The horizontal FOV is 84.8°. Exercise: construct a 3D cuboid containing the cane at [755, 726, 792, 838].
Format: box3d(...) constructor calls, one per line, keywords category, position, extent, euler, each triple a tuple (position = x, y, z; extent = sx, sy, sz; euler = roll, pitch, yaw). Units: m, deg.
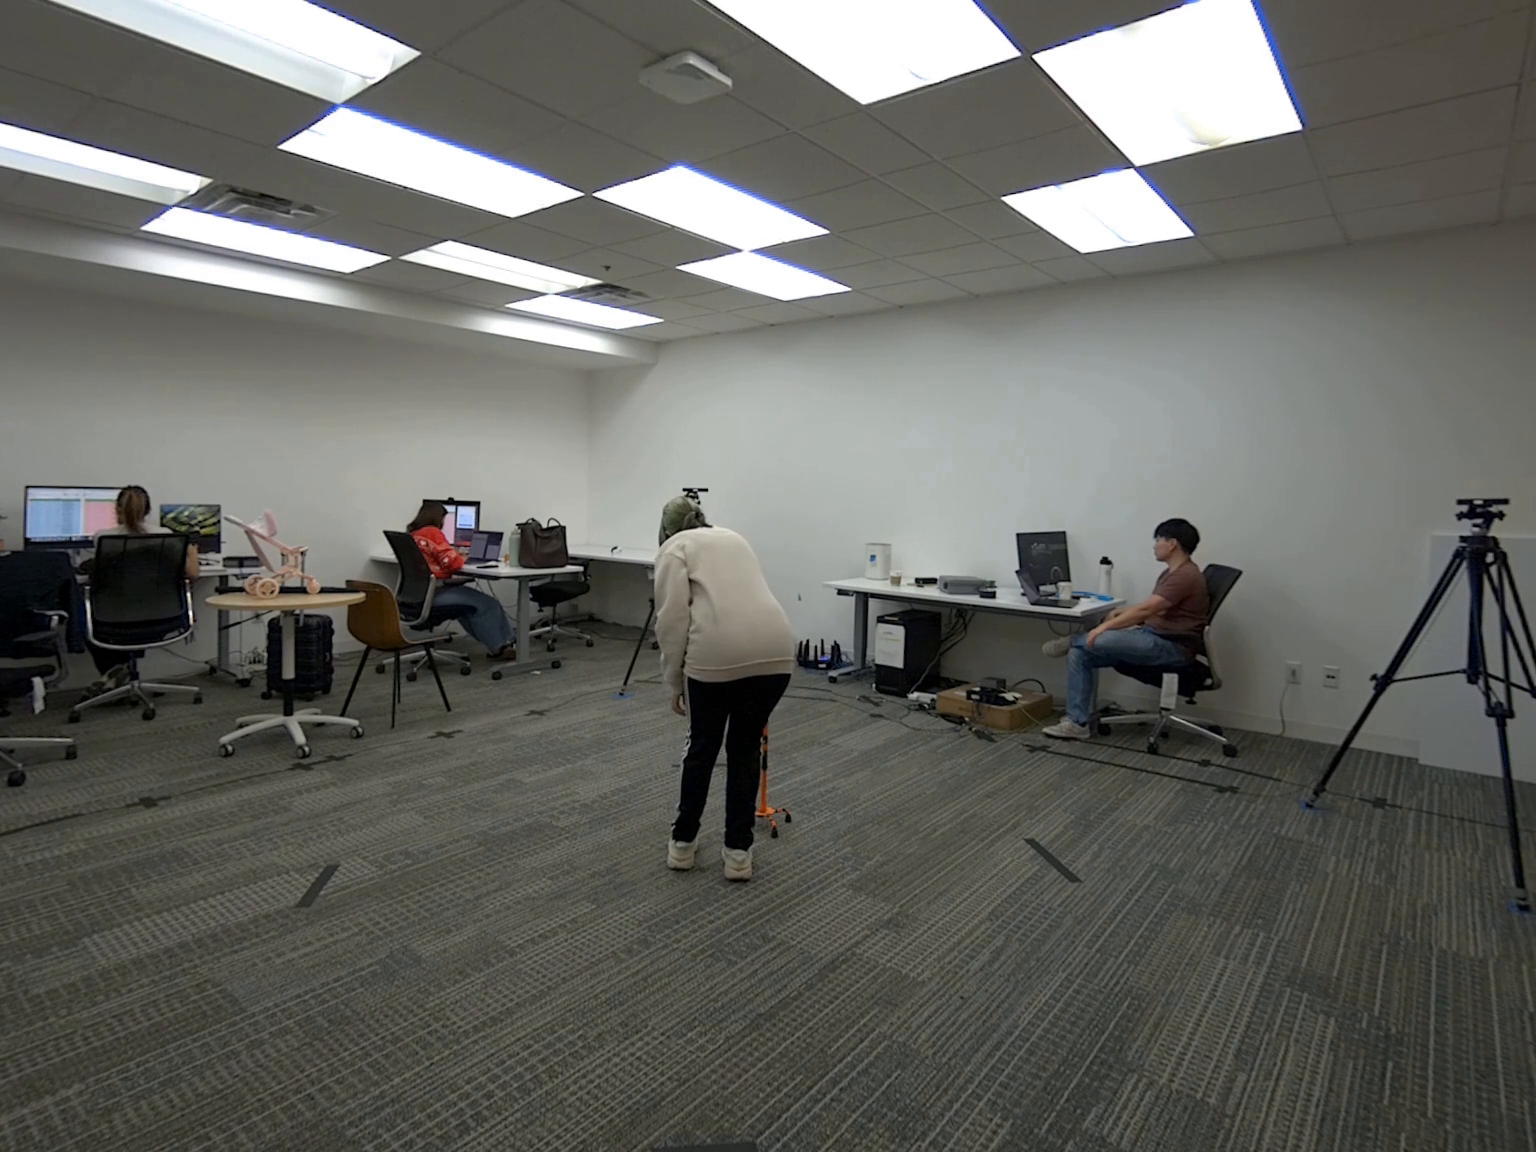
box3d(category="cane", position=(-0.007, 0.580, 3.508), extent=(0.155, 0.906, 0.202), euler=(1, 2, 21))
